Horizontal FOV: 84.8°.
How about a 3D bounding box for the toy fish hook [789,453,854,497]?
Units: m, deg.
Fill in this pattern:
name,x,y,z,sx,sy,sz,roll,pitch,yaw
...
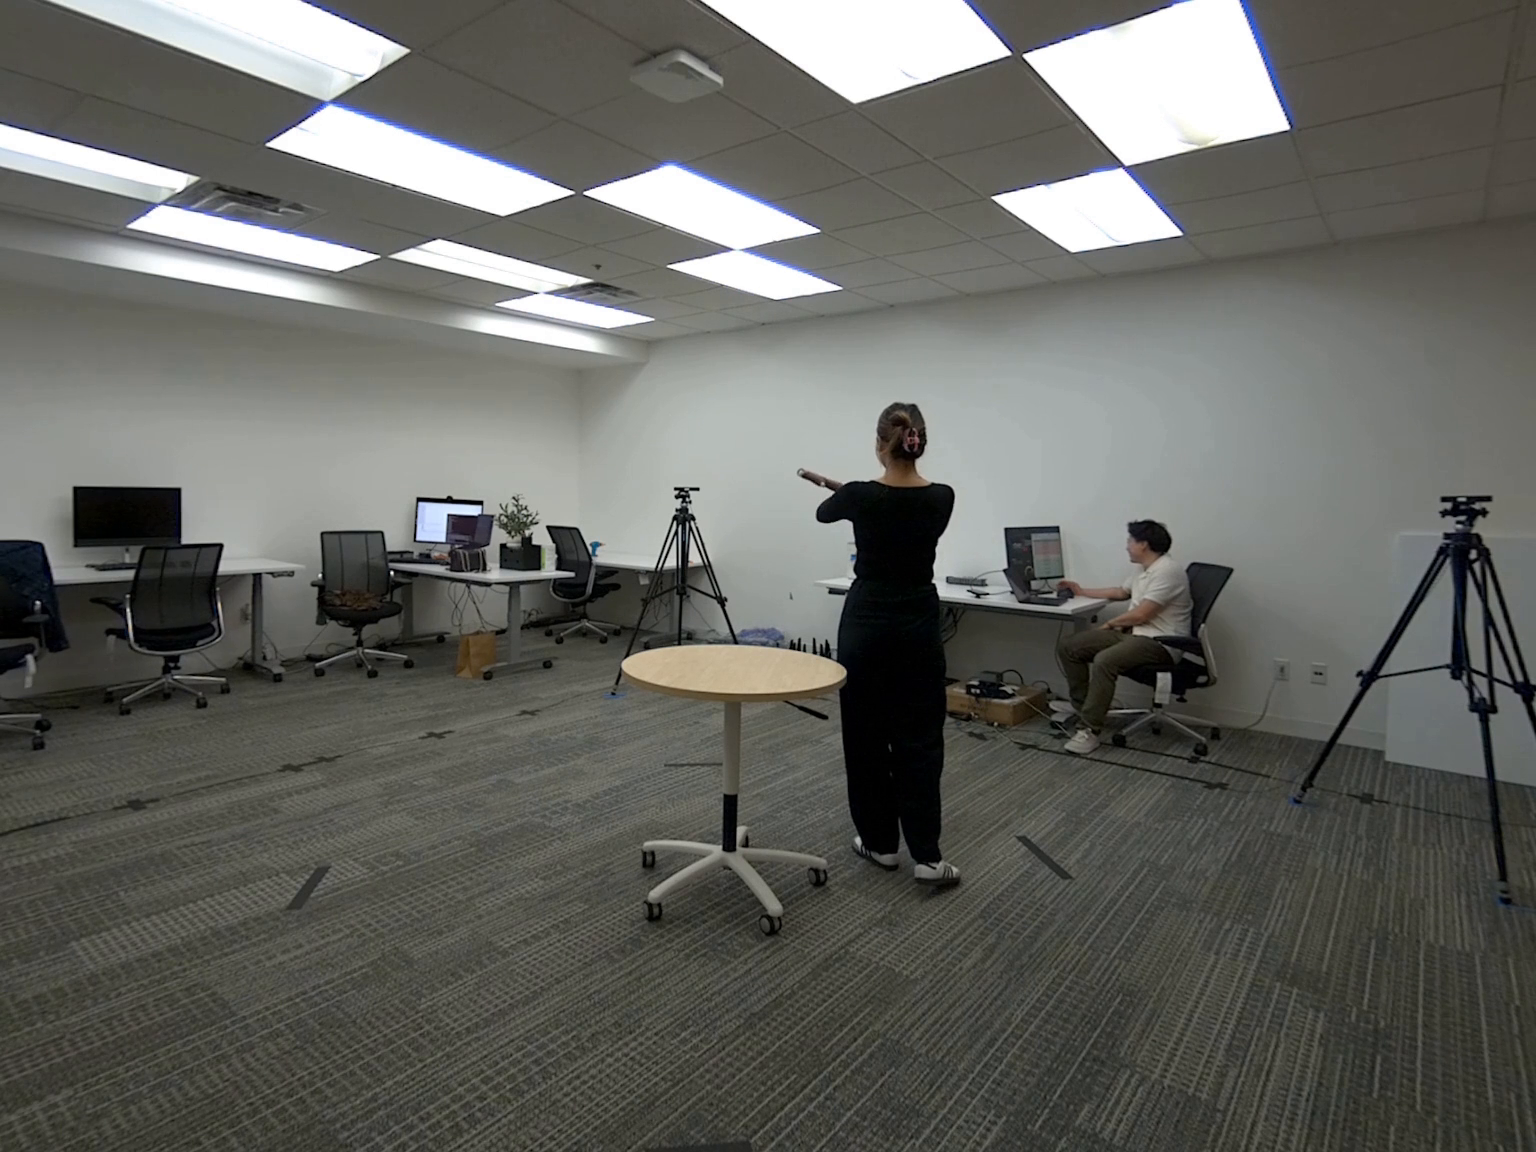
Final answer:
name,x,y,z,sx,sy,sz,roll,pitch,yaw
toy fish hook,0.340,-0.373,3.658,0.497,0.048,0.230,23,23,-15
